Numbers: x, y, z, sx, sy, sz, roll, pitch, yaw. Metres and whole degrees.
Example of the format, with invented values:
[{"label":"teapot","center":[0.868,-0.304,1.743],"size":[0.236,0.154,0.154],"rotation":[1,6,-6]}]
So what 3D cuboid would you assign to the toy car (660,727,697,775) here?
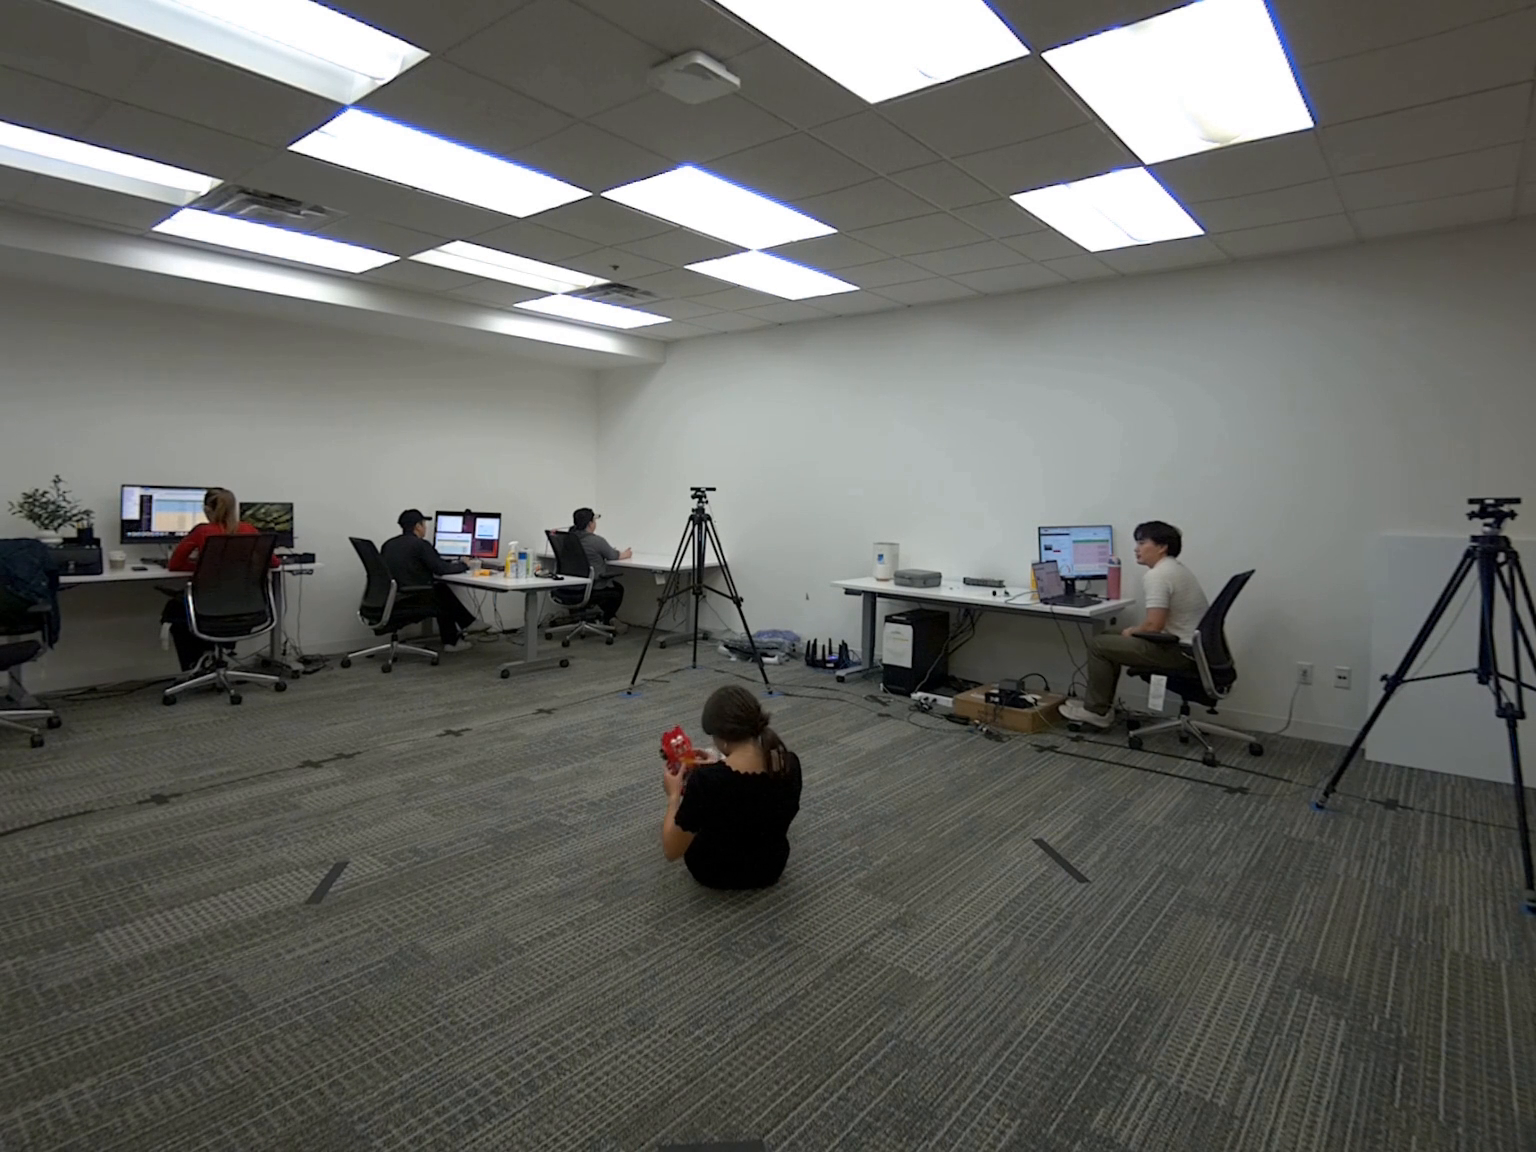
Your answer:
[{"label":"toy car","center":[-0.309,0.689,3.116],"size":[0.128,0.253,0.085],"rotation":[-21,7,-33]}]
